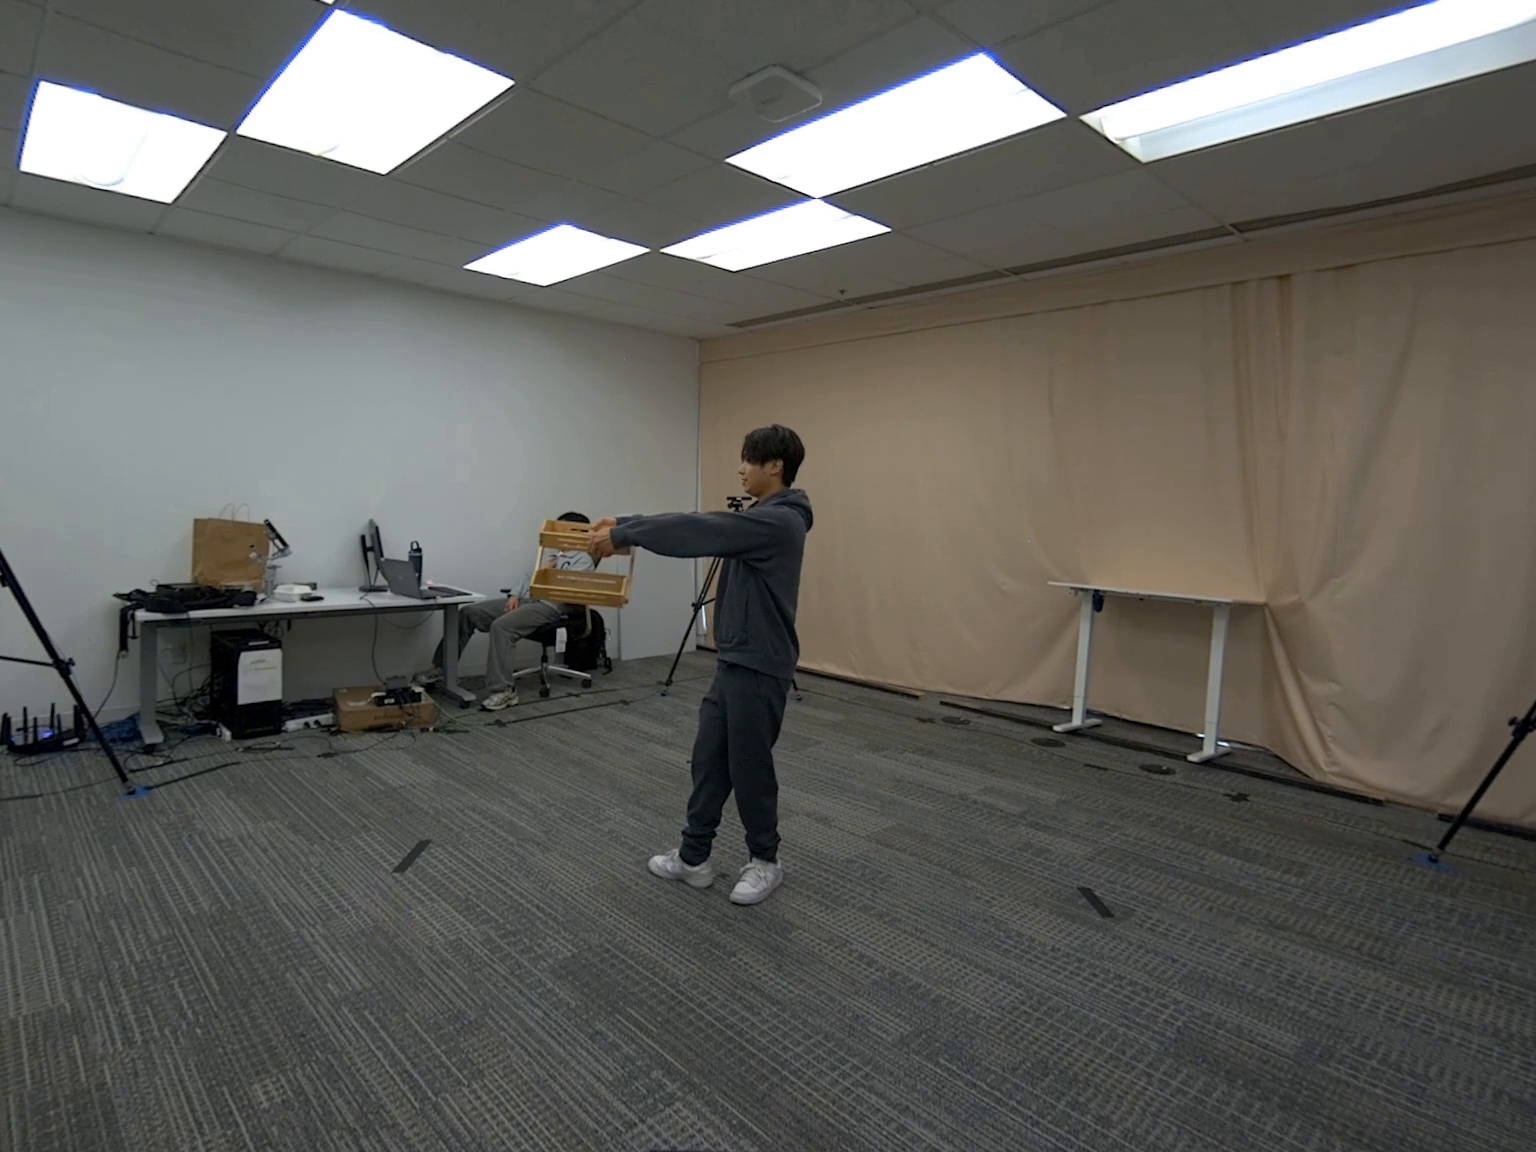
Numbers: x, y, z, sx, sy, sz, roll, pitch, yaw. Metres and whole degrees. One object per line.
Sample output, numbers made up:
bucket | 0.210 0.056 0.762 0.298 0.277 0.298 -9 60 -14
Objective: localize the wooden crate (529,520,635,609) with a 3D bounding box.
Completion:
wooden crate | -0.628 -0.046 2.830 0.324 0.273 0.302 5 2 -1
